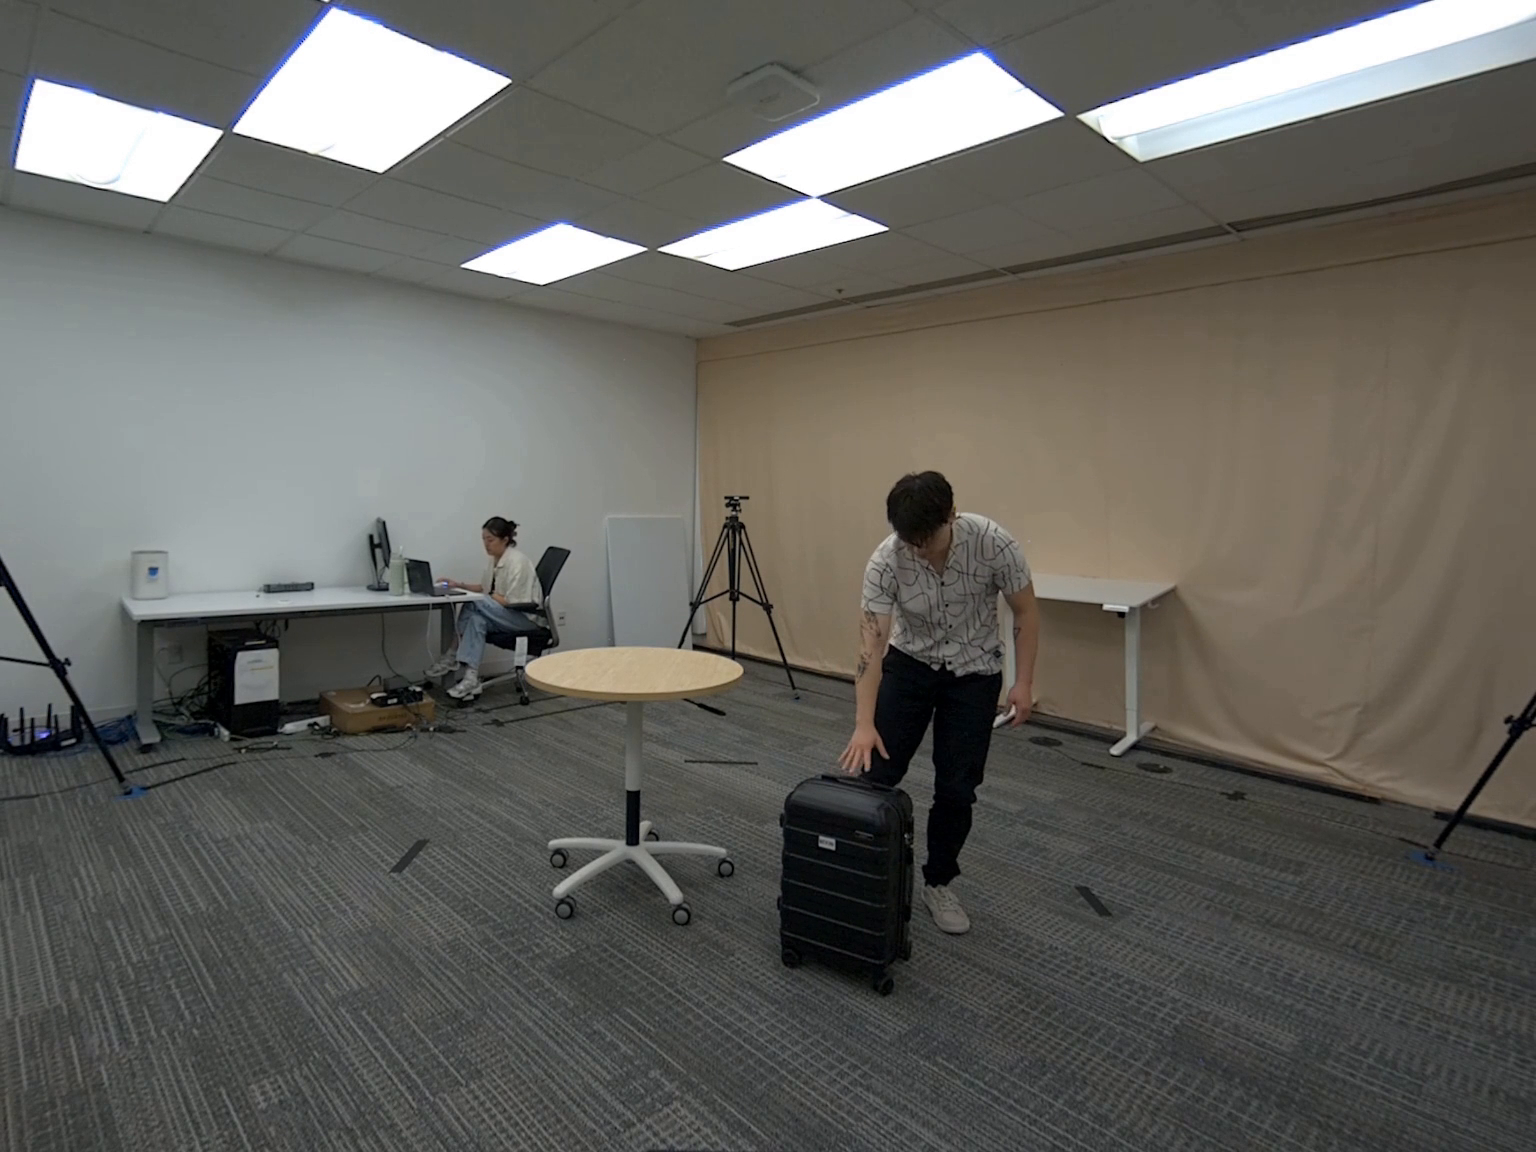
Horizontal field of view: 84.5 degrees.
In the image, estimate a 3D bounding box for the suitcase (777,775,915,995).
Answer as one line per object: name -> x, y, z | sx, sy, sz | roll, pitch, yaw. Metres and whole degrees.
suitcase -> 0.235, 0.893, 2.521 | 0.383, 0.548, 0.244 | 3, 5, 30
